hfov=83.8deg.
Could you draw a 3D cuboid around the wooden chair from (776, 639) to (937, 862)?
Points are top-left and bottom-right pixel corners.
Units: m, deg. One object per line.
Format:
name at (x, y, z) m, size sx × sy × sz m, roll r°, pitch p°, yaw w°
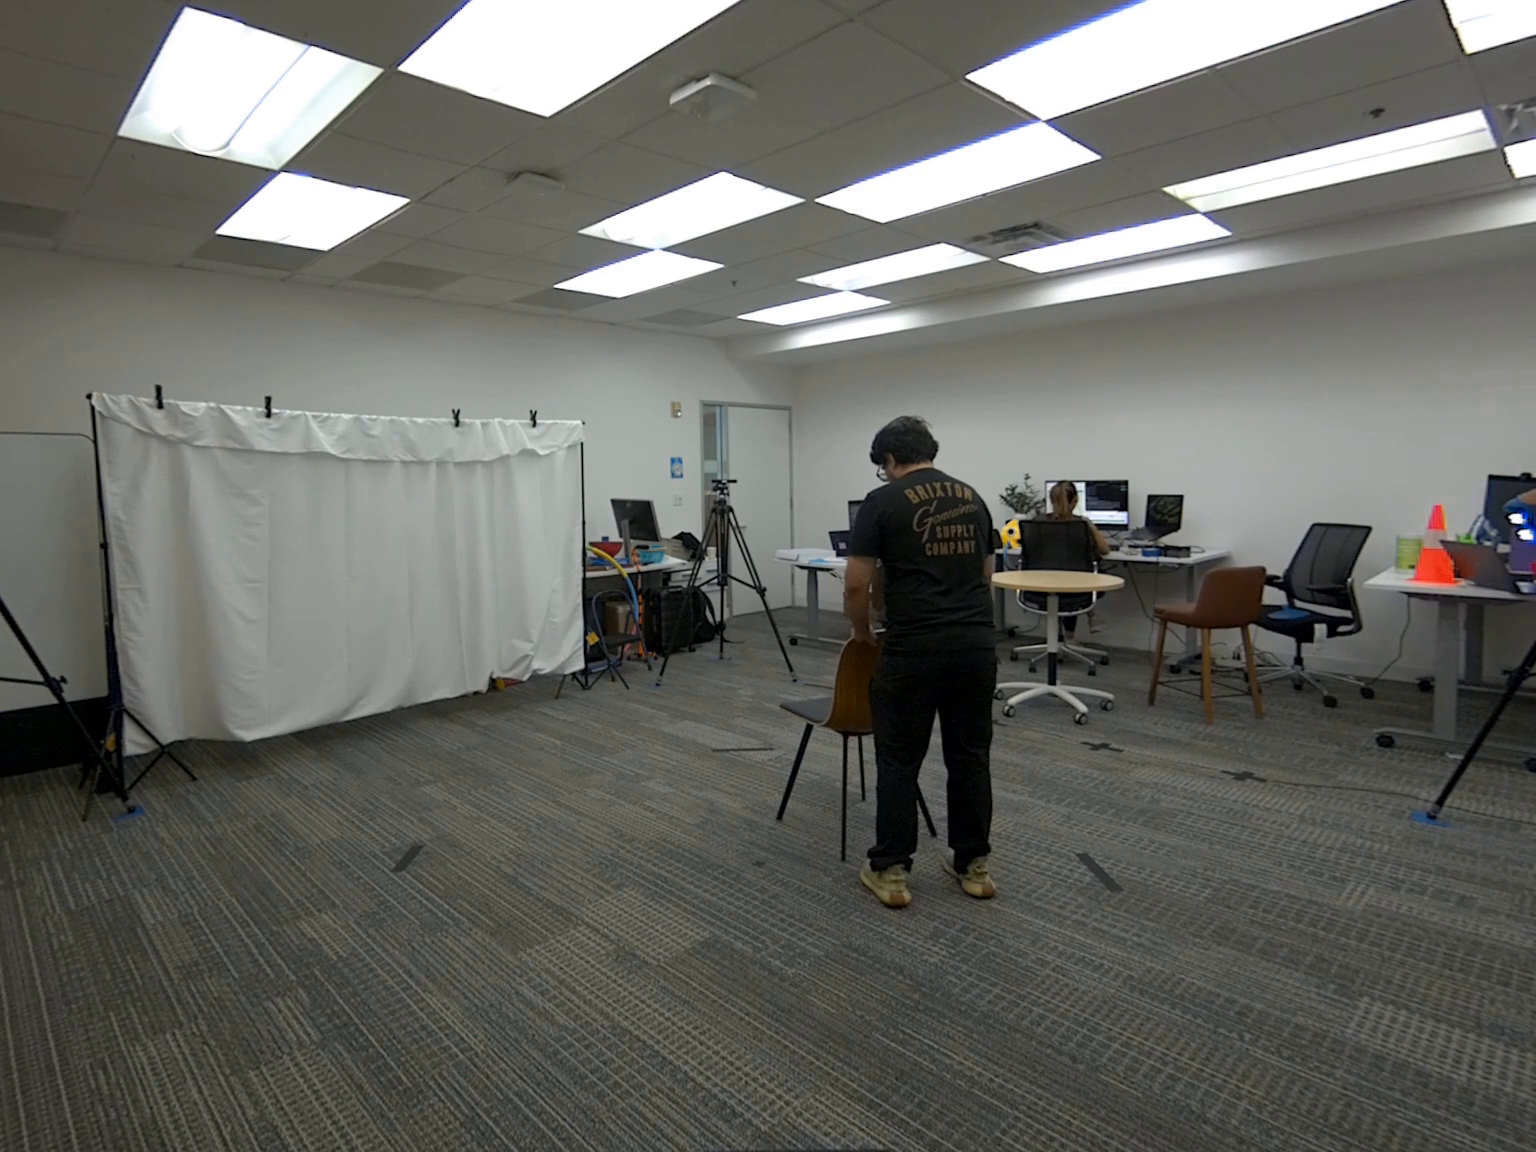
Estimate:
wooden chair at (0.334, 0.581, 3.391) m, size 0.467 × 0.871 × 0.539 m, roll -3°, pitch 9°, yaw -30°
